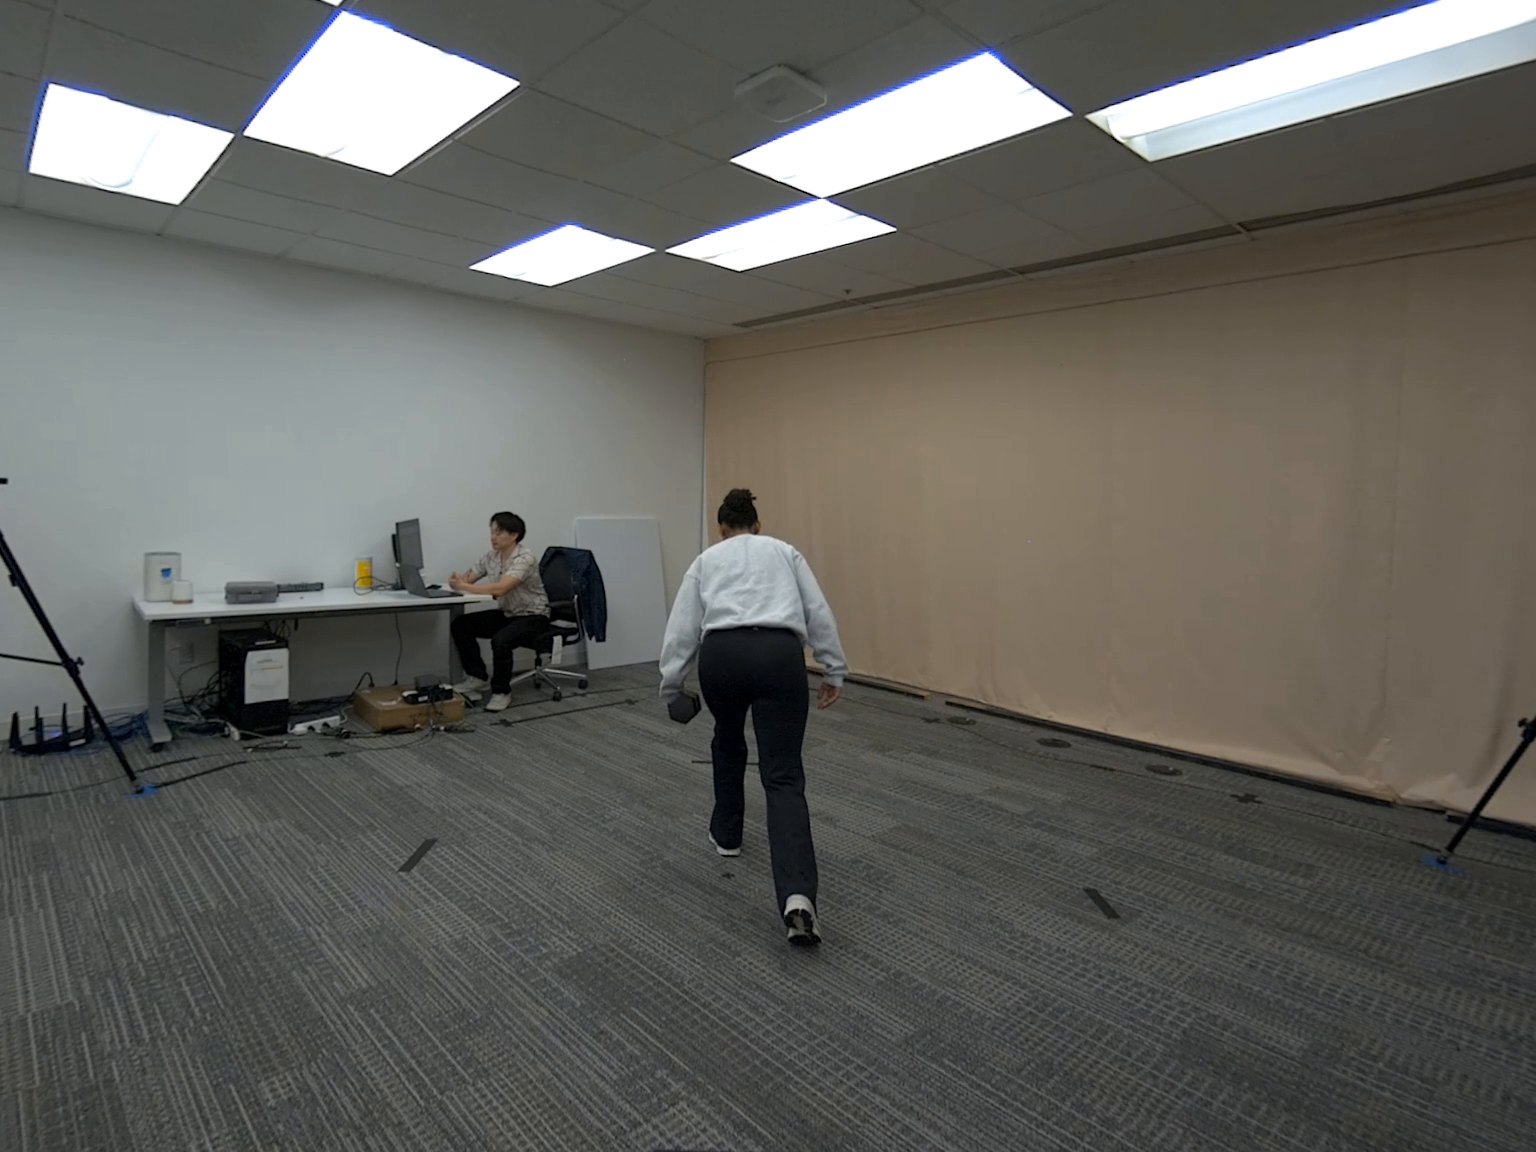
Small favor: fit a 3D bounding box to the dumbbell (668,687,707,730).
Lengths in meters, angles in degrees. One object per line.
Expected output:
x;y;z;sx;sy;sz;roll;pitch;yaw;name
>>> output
-0.312;0.507;3.275;0.108;0.124;0.292;-12;-5;-2;dumbbell
